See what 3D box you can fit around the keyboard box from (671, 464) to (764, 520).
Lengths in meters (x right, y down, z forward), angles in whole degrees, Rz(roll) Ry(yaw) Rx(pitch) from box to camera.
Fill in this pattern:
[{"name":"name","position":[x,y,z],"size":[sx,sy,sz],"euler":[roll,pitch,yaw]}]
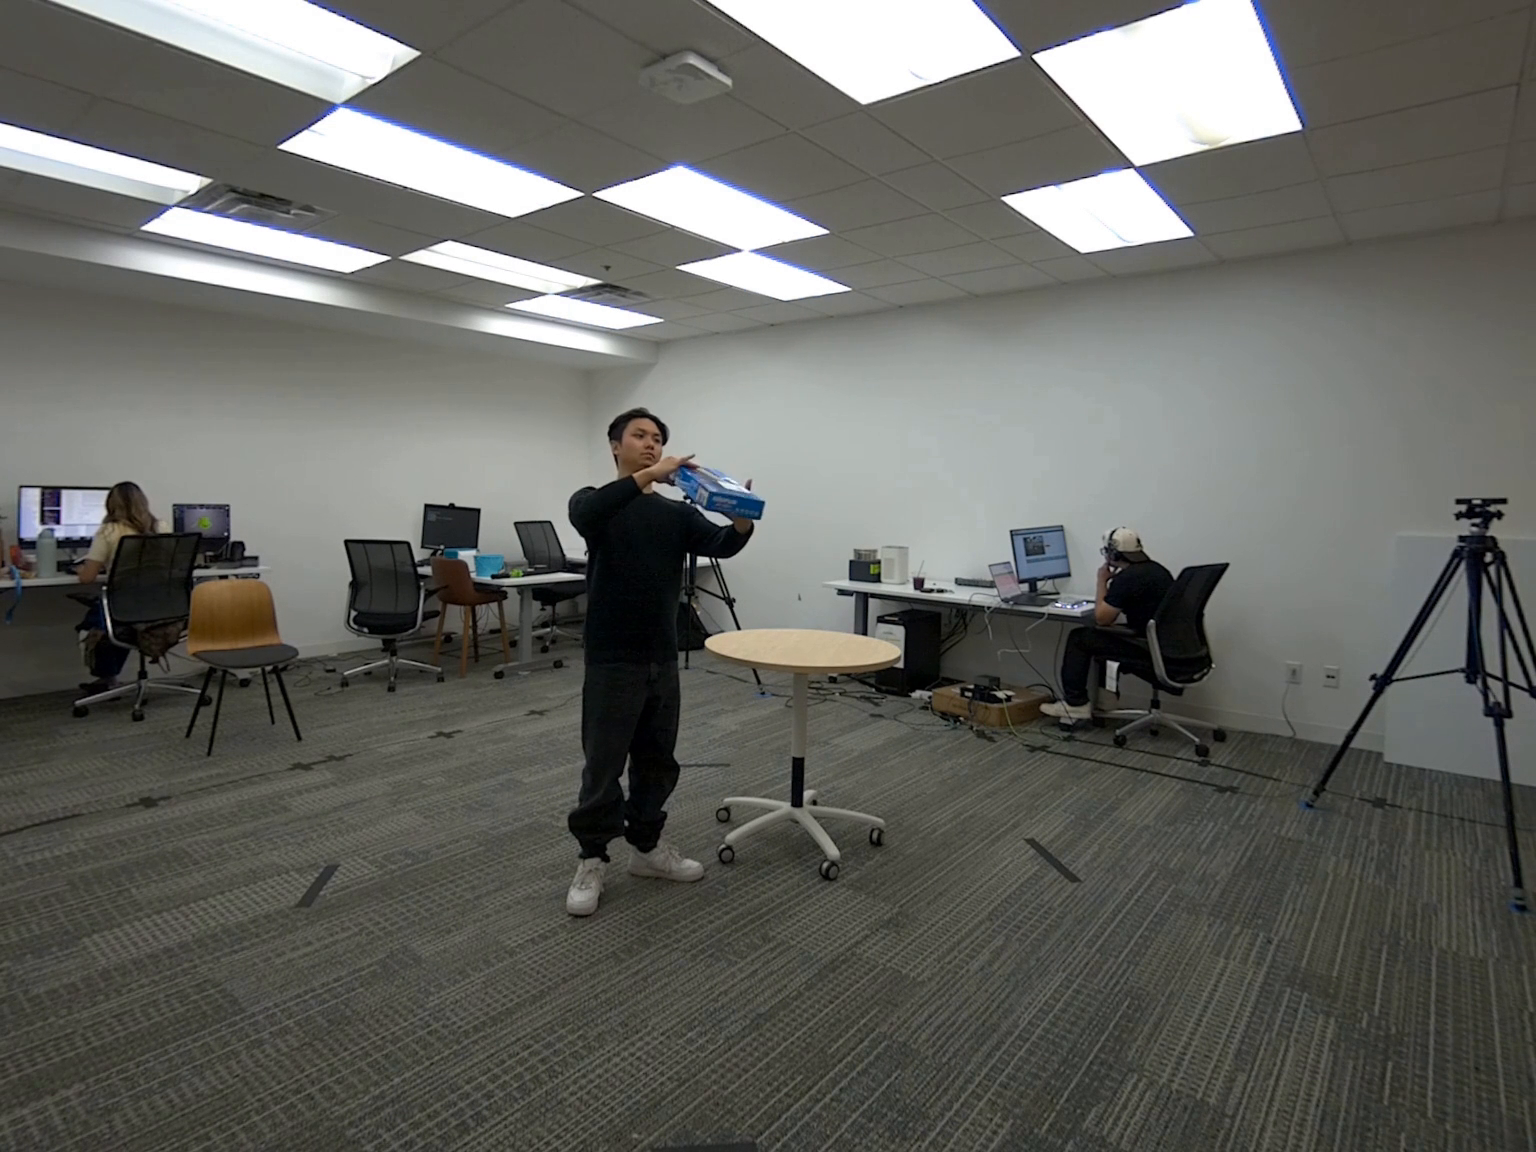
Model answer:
[{"name":"keyboard box","position":[-0.171,-0.267,2.586],"size":[0.172,0.058,0.451],"euler":[9,15,-23]}]
